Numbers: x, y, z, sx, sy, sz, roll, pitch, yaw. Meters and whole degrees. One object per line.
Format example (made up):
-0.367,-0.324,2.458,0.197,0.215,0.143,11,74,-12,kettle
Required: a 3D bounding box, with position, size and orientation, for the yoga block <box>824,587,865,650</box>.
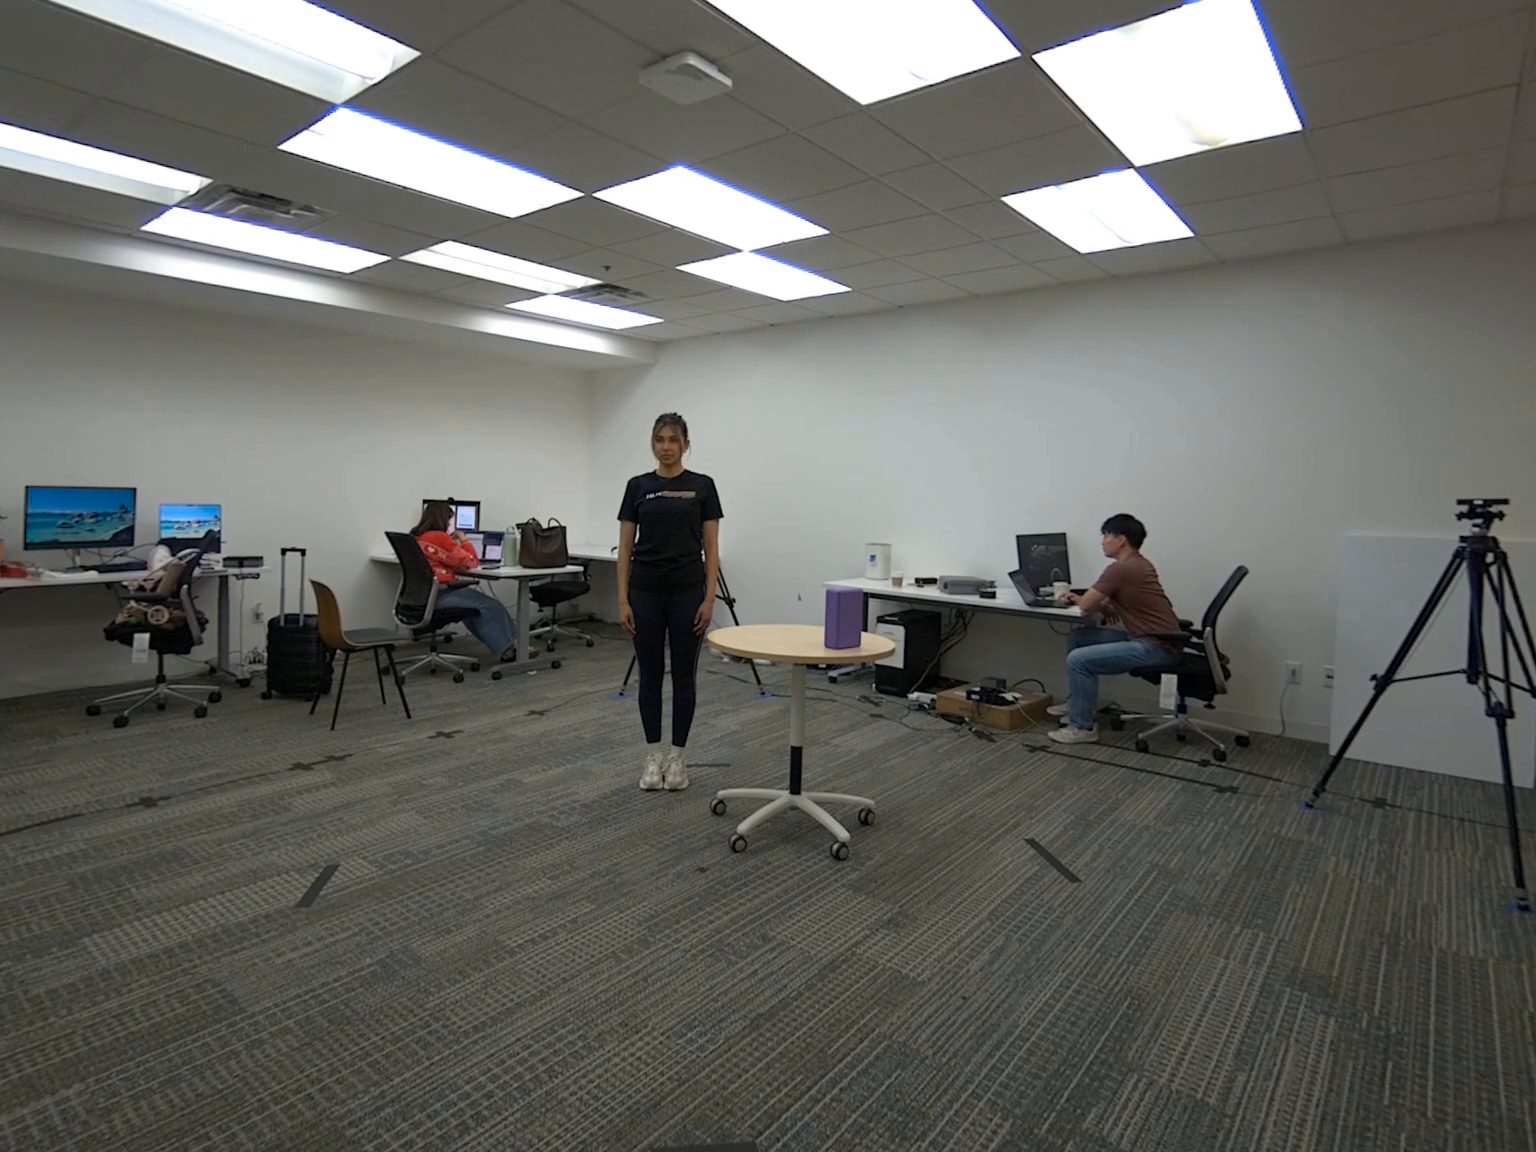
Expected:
0.290,0.160,3.332,0.144,0.229,0.079,-1,4,-41,yoga block
